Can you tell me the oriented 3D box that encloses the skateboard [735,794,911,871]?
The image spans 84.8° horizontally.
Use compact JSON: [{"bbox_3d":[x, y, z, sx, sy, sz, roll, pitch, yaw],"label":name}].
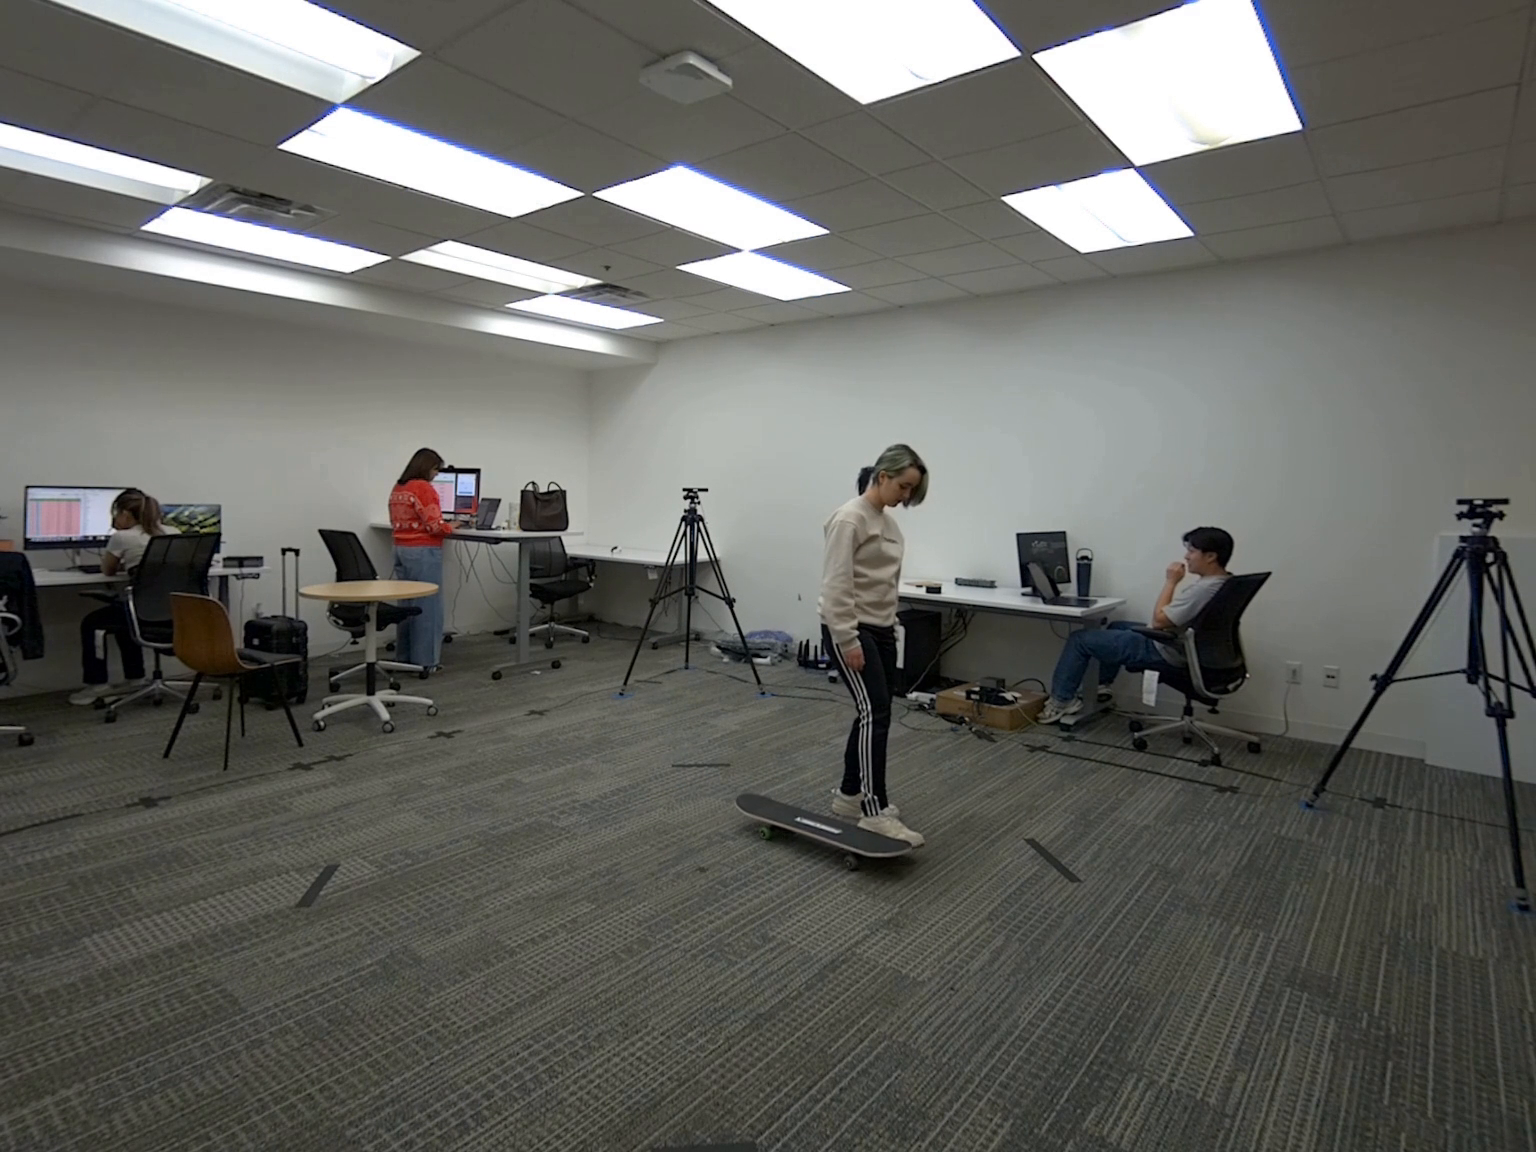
[{"bbox_3d":[0.186,0.998,3.322,0.812,0.110,0.188,6,7,39],"label":"skateboard"}]
